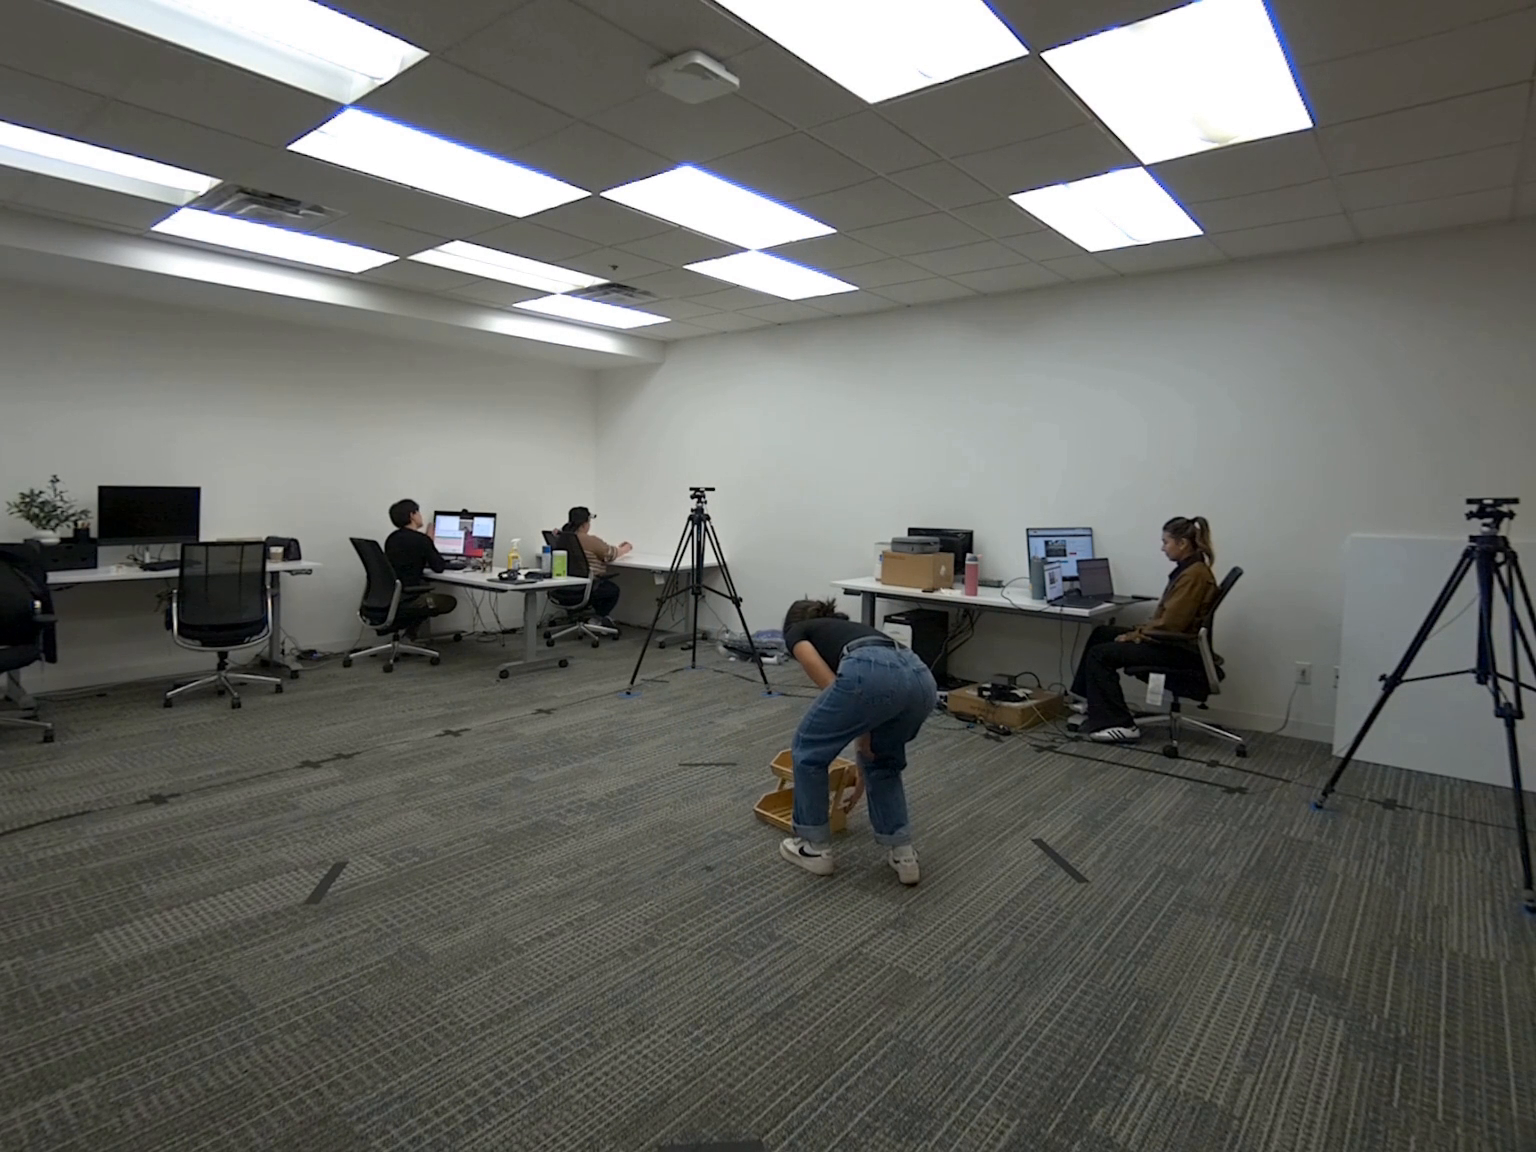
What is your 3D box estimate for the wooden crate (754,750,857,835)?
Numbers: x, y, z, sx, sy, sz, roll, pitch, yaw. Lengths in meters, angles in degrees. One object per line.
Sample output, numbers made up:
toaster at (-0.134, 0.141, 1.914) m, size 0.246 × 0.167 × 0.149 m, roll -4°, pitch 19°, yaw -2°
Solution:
wooden crate at (0.144, 0.892, 3.562) m, size 0.293 × 0.272 × 0.336 m, roll -2°, pitch 5°, yaw -43°
